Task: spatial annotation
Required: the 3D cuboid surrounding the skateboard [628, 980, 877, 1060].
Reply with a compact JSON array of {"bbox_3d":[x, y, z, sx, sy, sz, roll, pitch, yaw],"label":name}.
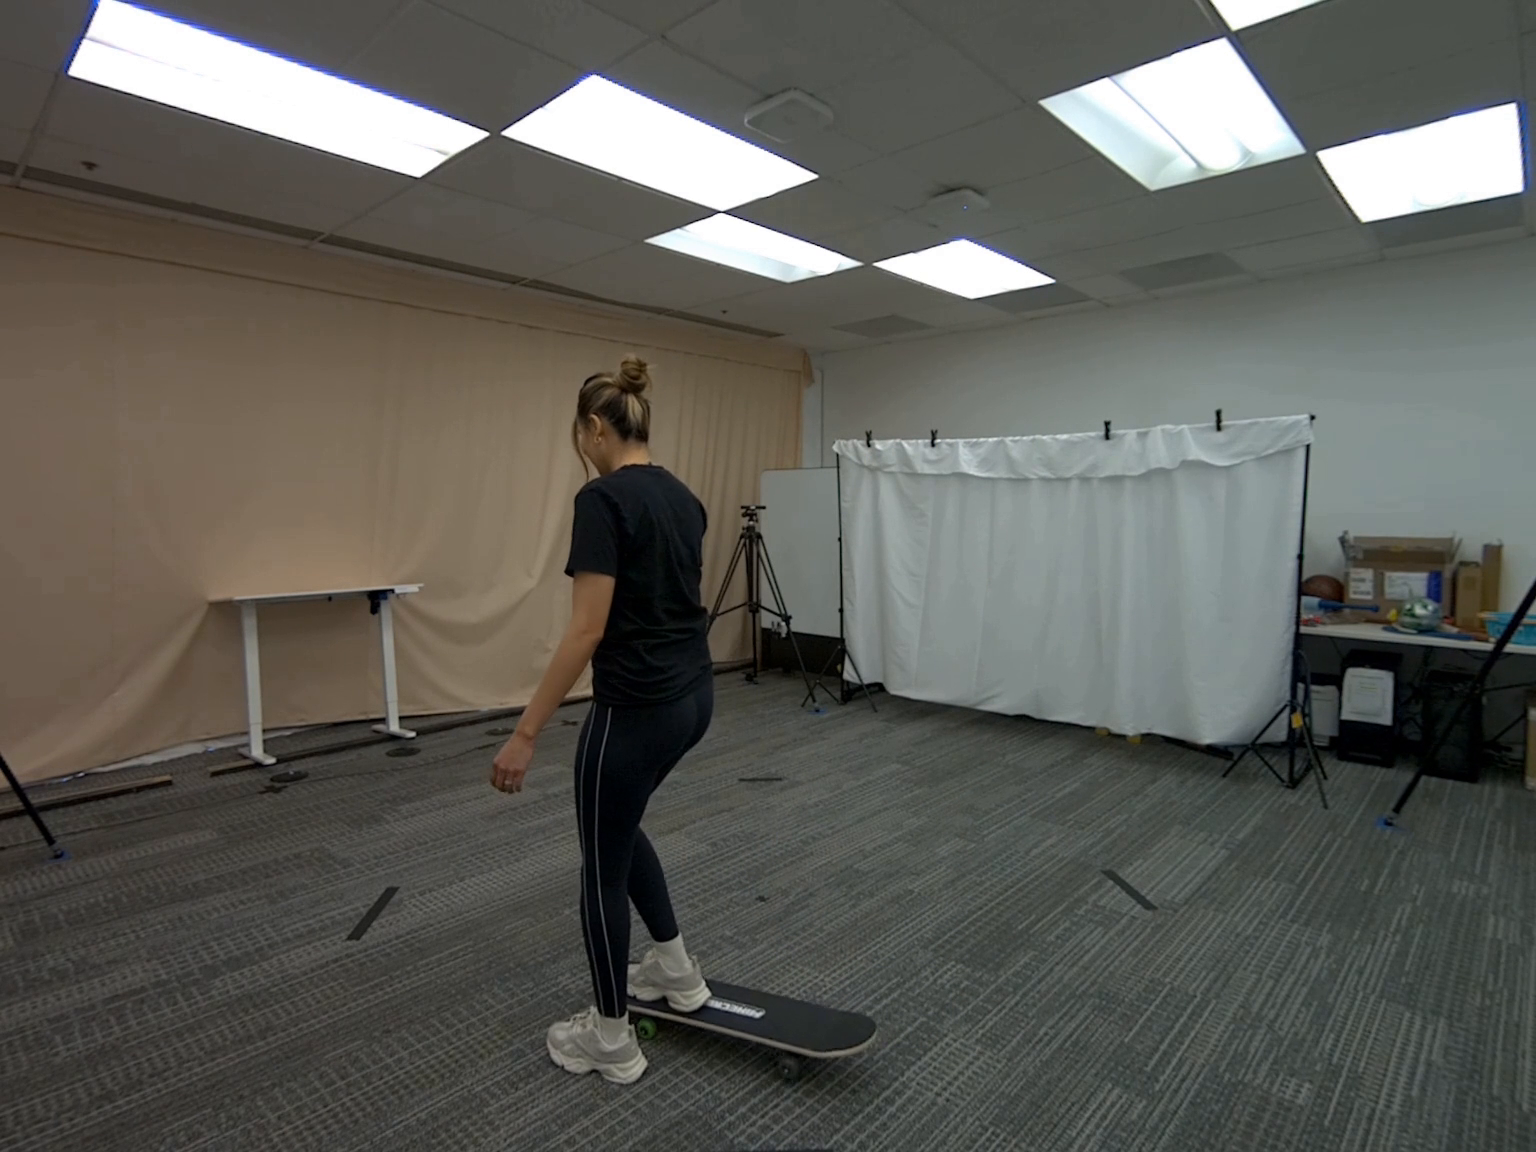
[{"bbox_3d":[-0.104,1.150,2.189,0.805,0.110,0.189,-1,4,25],"label":"skateboard"}]
